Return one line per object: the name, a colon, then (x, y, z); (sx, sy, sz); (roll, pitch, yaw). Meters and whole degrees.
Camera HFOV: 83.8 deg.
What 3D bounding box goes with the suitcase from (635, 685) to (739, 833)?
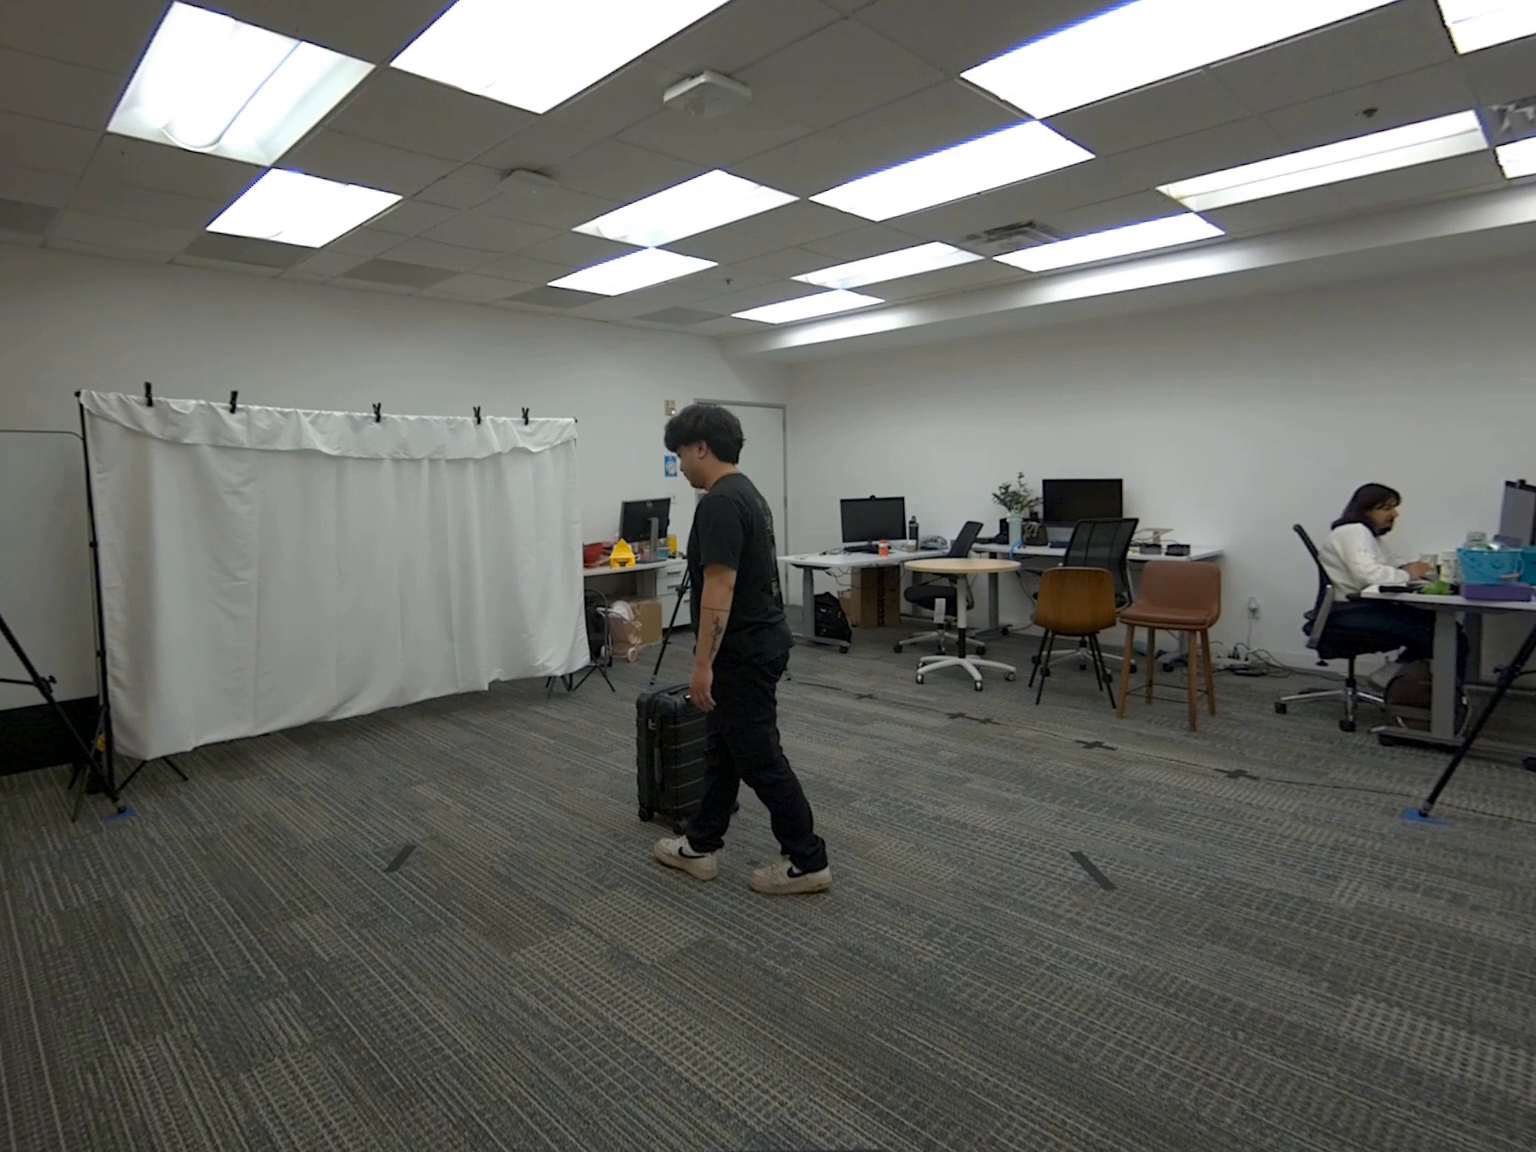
suitcase: (-0.353, 0.722, 3.547); (0.255, 0.548, 0.366); (-1, 4, 44)
